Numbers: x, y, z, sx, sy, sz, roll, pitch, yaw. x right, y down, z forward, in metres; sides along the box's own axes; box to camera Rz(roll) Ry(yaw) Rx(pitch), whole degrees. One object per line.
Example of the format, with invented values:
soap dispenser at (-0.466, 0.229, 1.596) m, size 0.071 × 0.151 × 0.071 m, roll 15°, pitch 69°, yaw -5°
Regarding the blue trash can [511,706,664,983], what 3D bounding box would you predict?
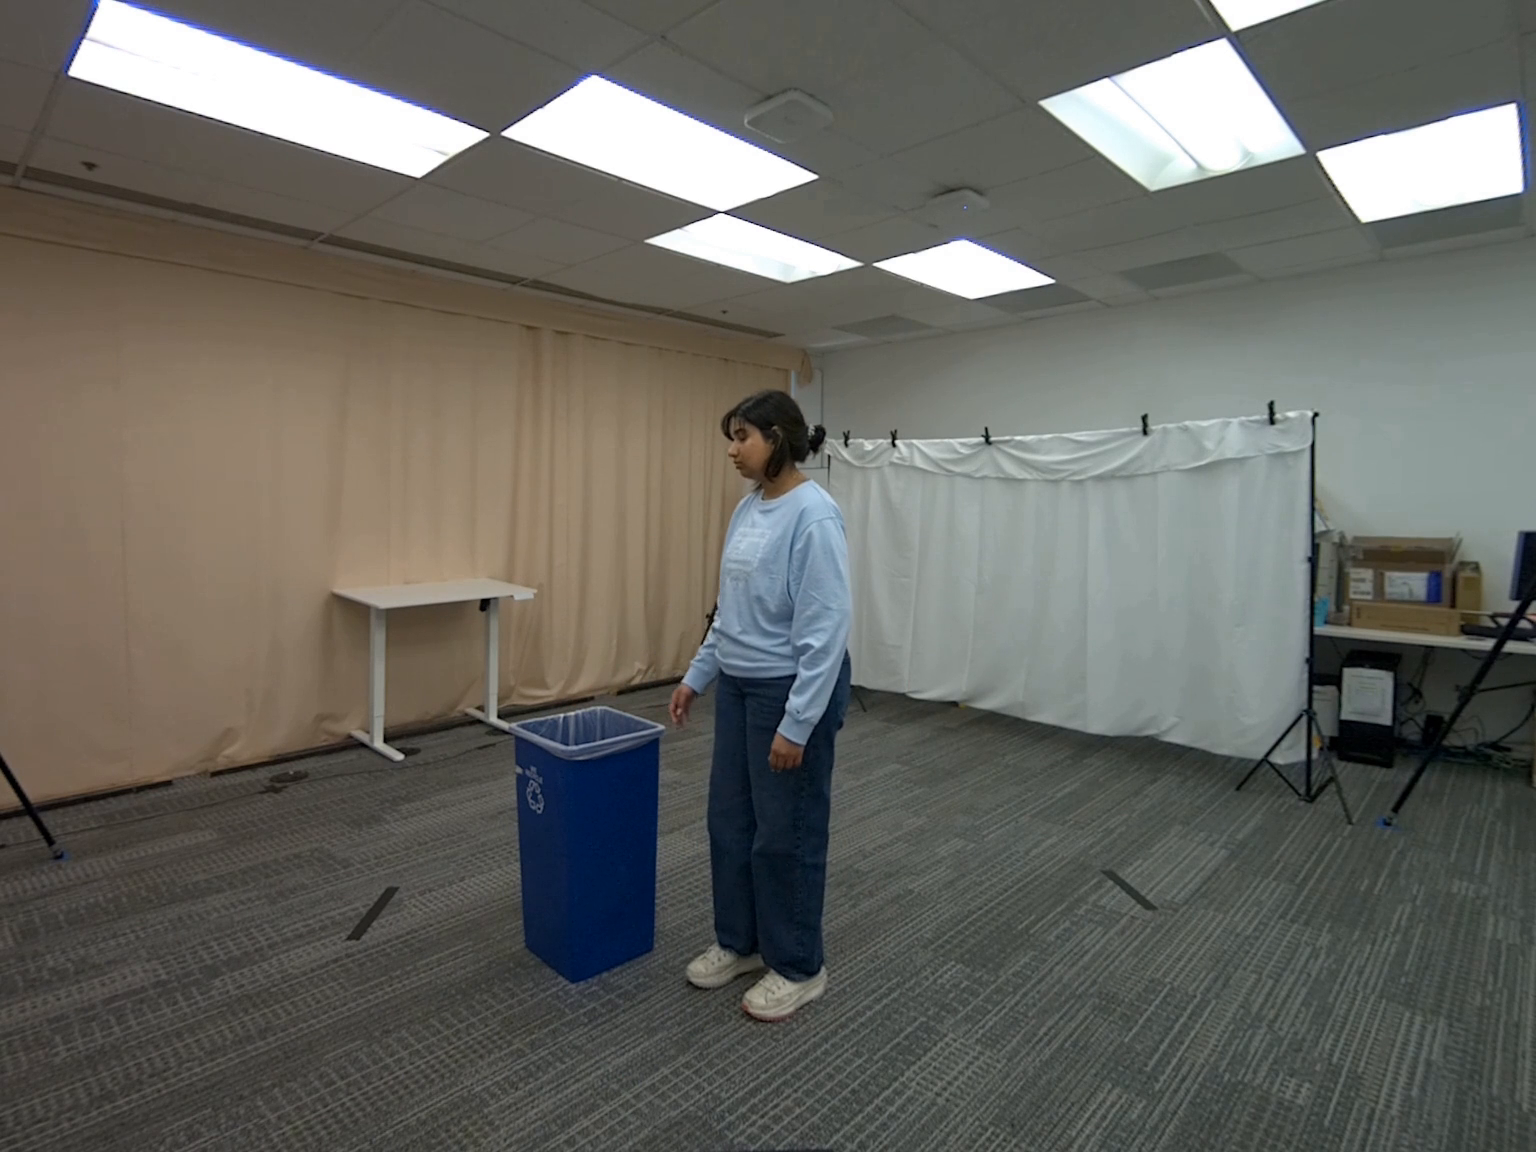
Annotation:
blue trash can at (-0.558, 0.821, 2.635) m, size 0.366 × 0.712 × 0.386 m, roll -4°, pitch 5°, yaw -44°
